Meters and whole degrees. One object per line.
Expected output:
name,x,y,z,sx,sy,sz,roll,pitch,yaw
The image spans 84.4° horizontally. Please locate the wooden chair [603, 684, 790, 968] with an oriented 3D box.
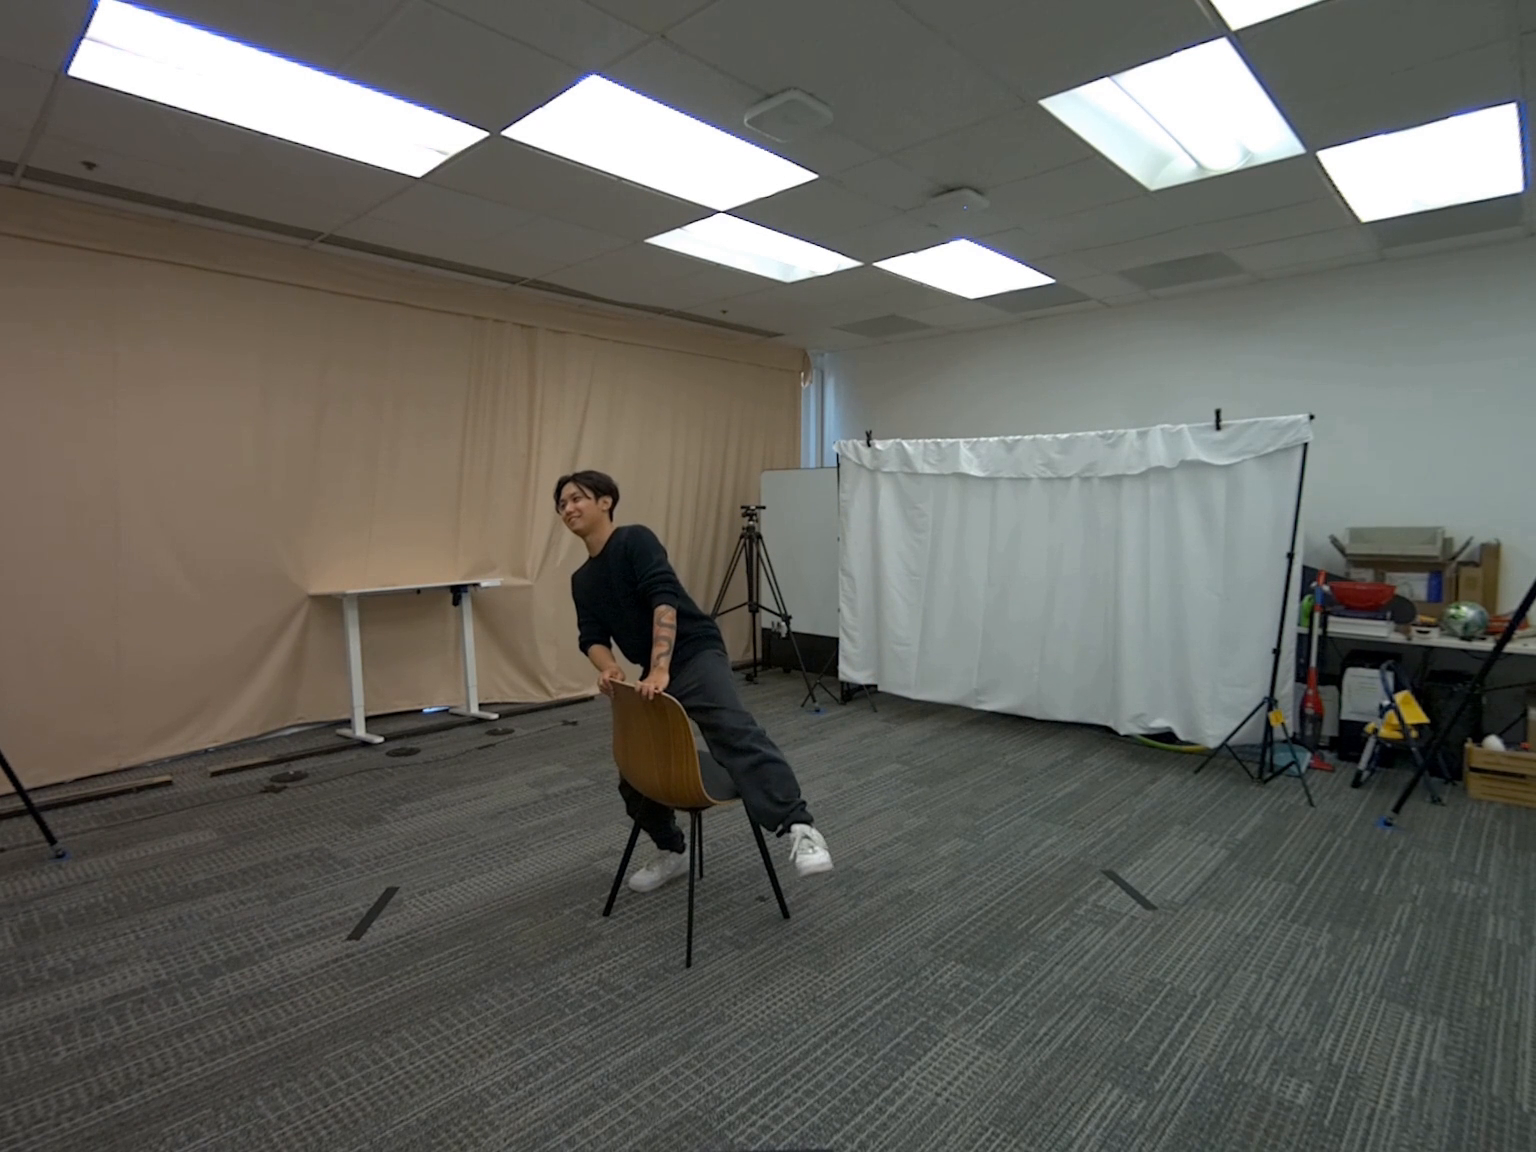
wooden chair,-0.236,0.729,2.824,0.508,0.873,0.494,-10,9,-44
